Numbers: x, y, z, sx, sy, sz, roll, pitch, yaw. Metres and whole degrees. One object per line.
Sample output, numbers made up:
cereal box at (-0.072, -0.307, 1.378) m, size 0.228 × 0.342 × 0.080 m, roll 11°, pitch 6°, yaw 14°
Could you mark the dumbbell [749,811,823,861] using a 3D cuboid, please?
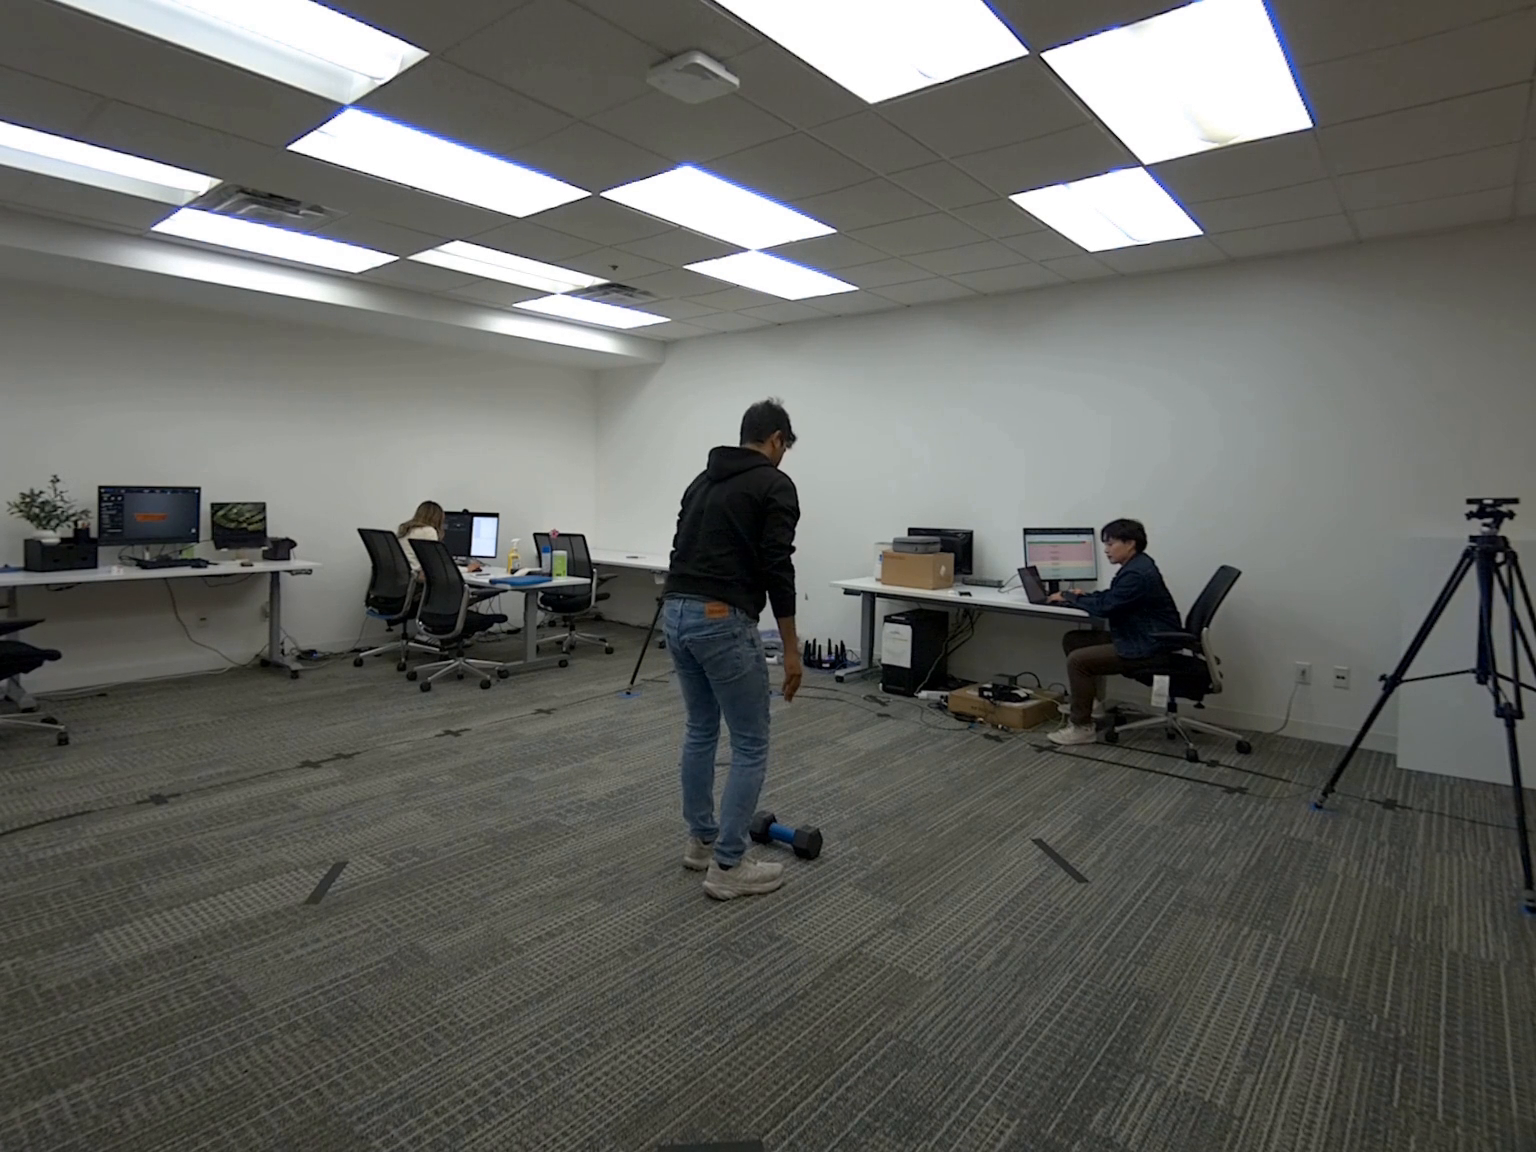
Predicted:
dumbbell at (0.052, 0.998, 3.299) m, size 0.303 × 0.124 × 0.104 m, roll 5°, pitch -25°, yaw 39°
